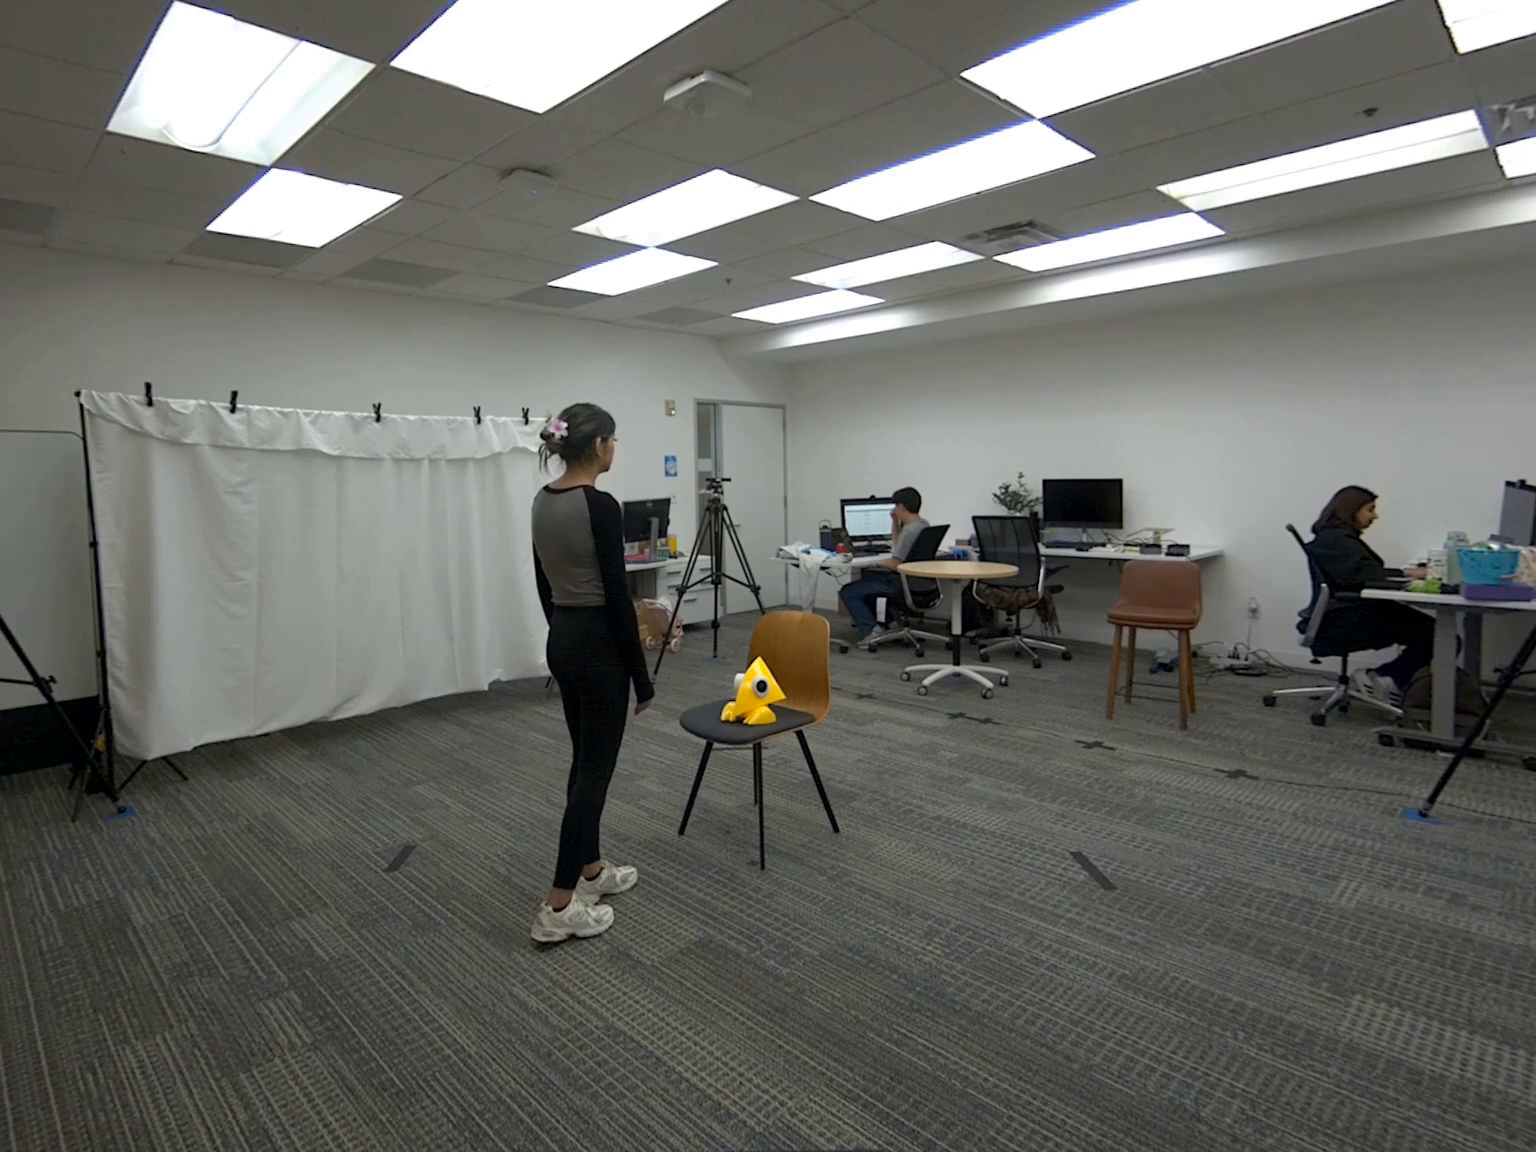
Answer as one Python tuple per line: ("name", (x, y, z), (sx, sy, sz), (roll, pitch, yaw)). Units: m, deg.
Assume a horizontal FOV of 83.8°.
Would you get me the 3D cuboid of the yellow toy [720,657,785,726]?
("yellow toy", (-0.067, 0.430, 3.248), (0.211, 0.231, 0.187), (1, 0, 38))
